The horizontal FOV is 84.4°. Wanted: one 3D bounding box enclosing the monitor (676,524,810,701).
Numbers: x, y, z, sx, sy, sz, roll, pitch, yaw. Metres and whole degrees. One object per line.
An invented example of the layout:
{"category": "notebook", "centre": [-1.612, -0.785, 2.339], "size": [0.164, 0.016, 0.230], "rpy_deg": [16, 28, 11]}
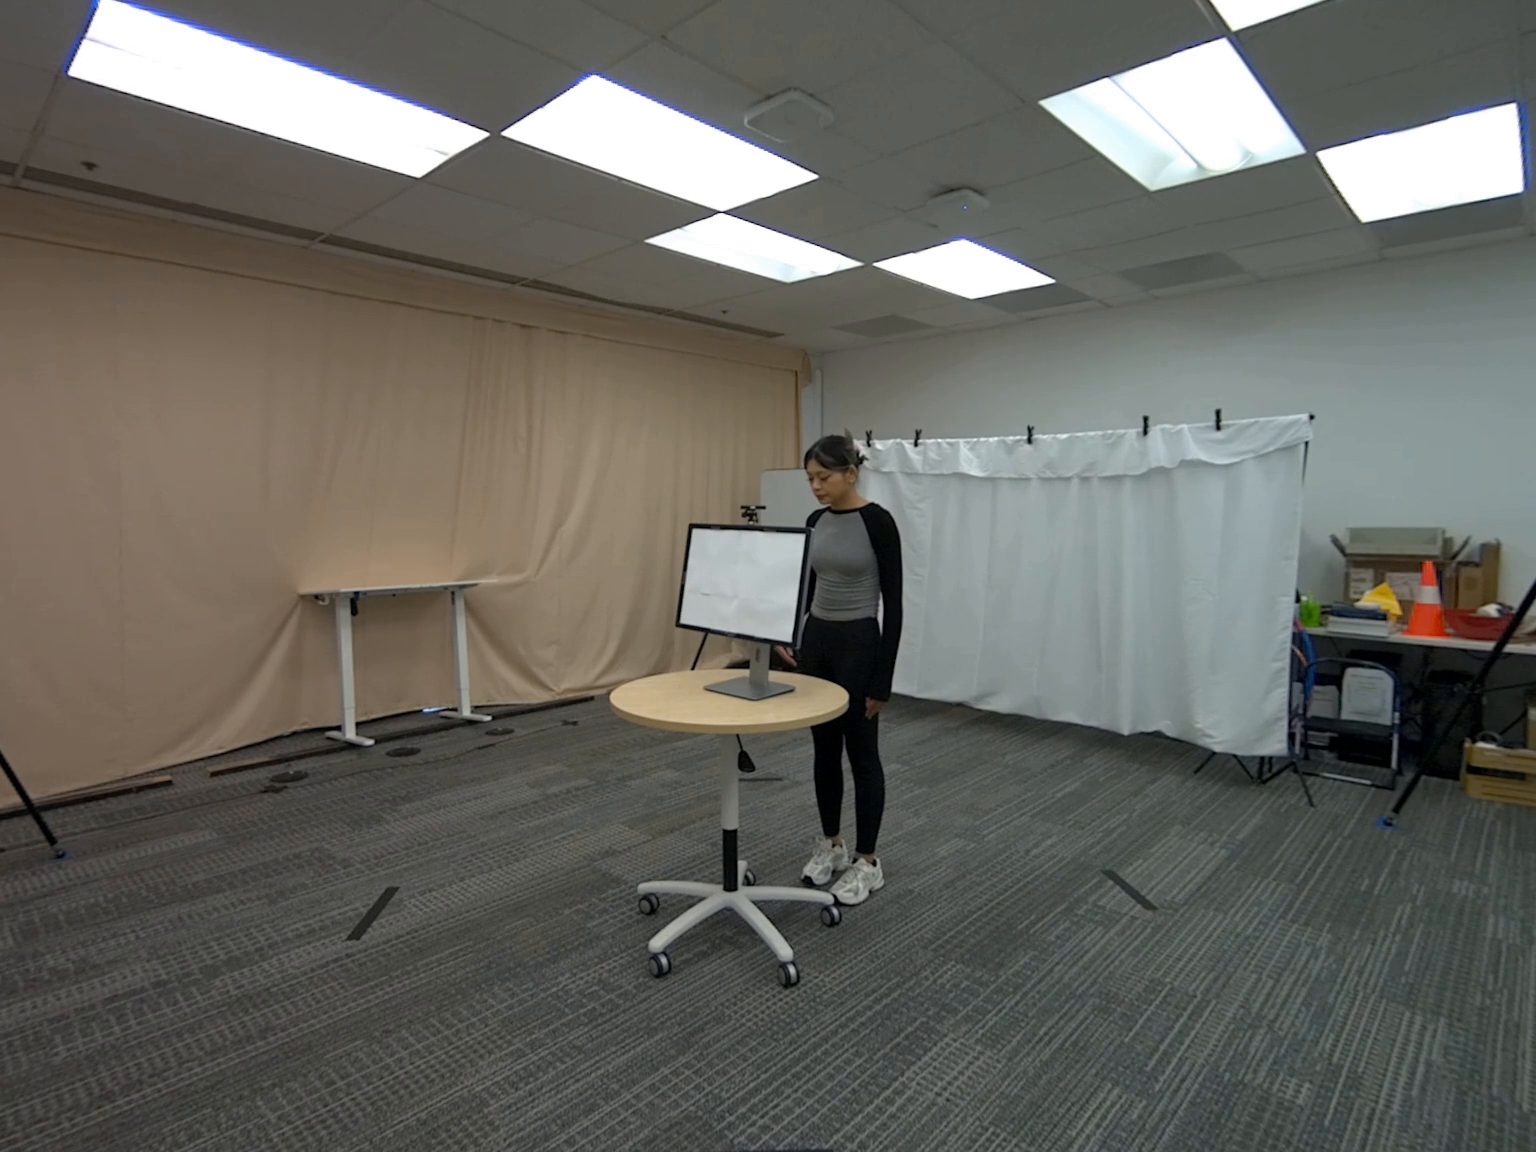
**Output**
{"category": "monitor", "centre": [-0.059, 0.110, 2.741], "size": [0.557, 0.521, 0.181], "rpy_deg": [4, 7, 44]}
